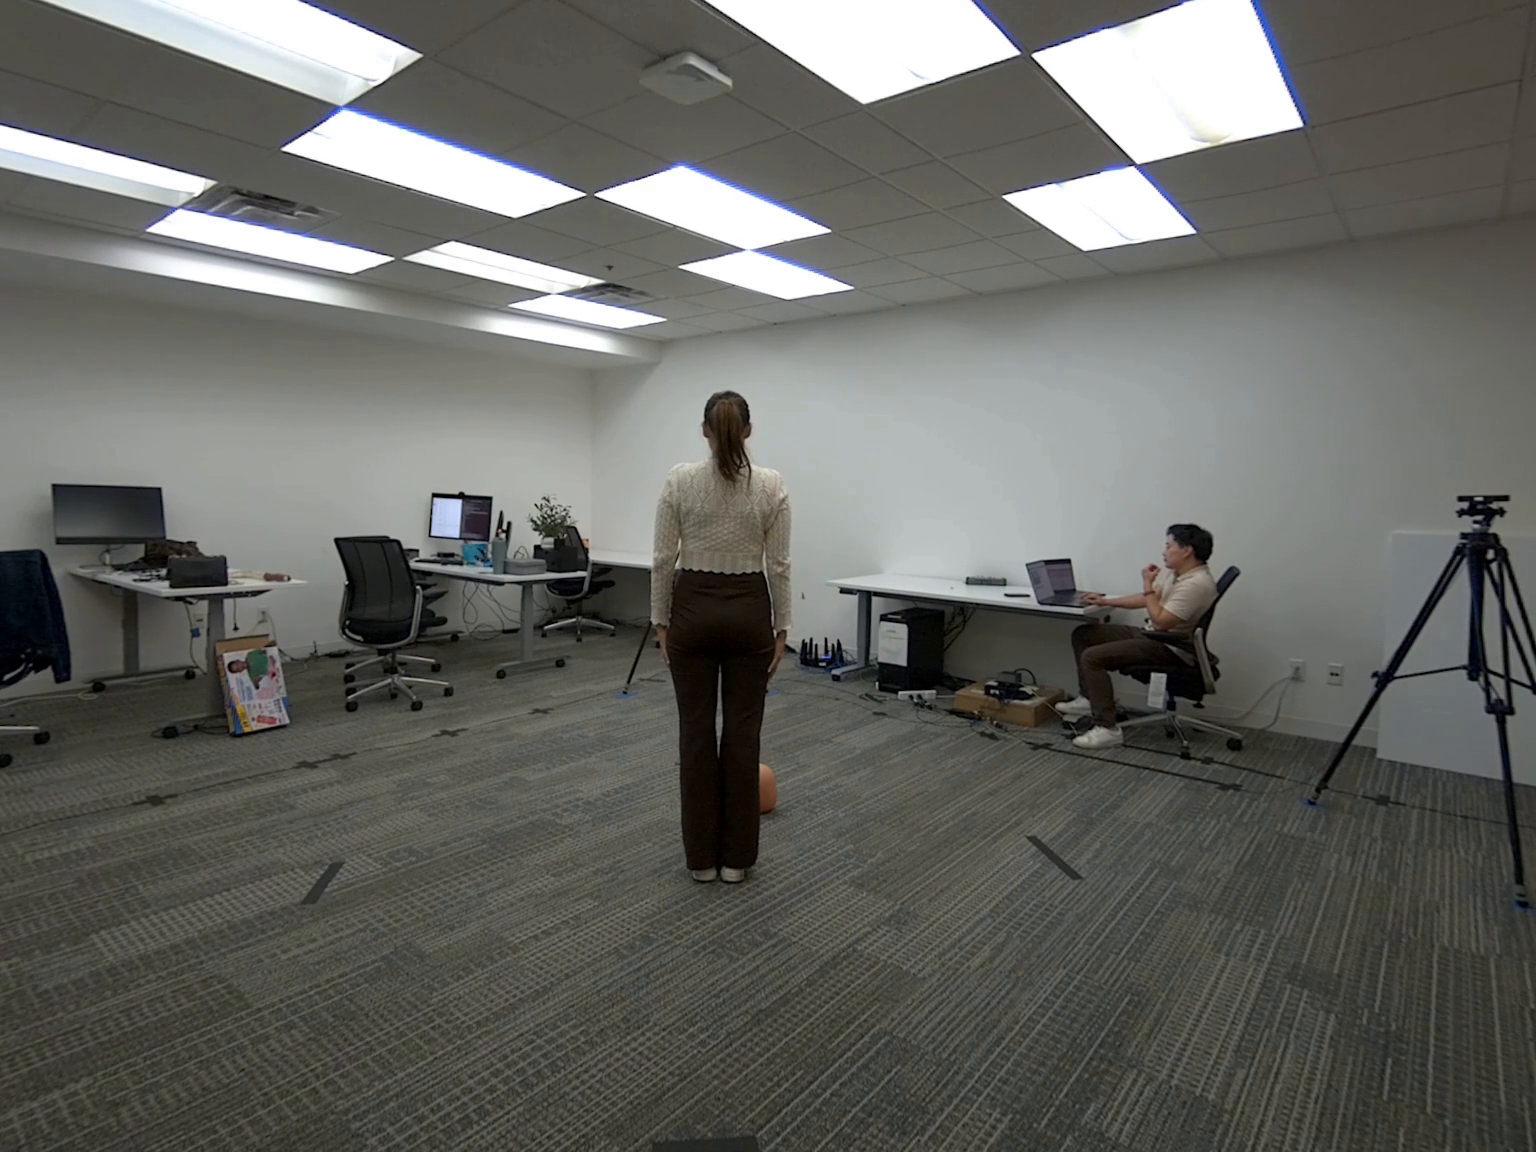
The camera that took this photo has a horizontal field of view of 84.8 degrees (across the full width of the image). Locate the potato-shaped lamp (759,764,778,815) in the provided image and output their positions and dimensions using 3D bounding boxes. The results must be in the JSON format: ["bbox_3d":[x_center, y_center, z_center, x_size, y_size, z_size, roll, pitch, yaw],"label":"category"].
[{"bbox_3d":[-0.047,0.905,3.692,0.164,0.197,0.172,2,4,-3],"label":"potato-shaped lamp"}]
